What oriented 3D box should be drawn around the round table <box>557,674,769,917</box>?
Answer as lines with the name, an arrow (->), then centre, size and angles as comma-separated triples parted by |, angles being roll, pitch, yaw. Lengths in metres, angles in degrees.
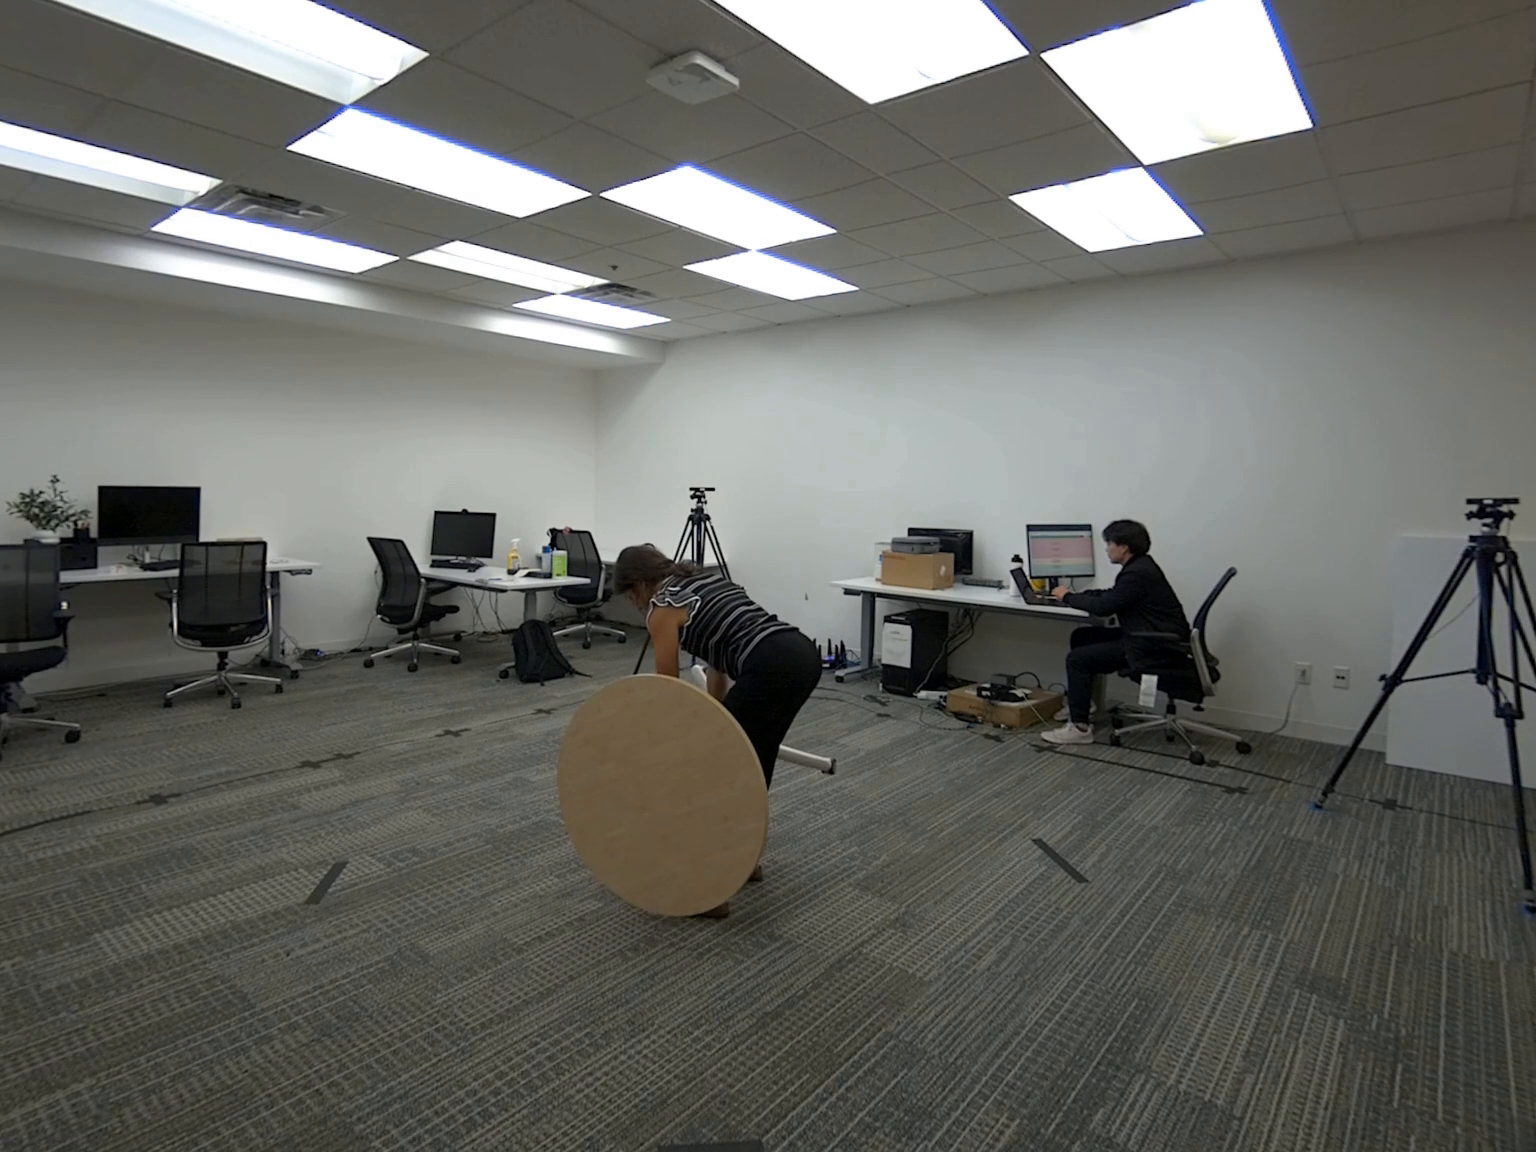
round table -> -0.216, 0.664, 3.065 | 0.784, 0.762, 0.776 | 3, 4, 25
